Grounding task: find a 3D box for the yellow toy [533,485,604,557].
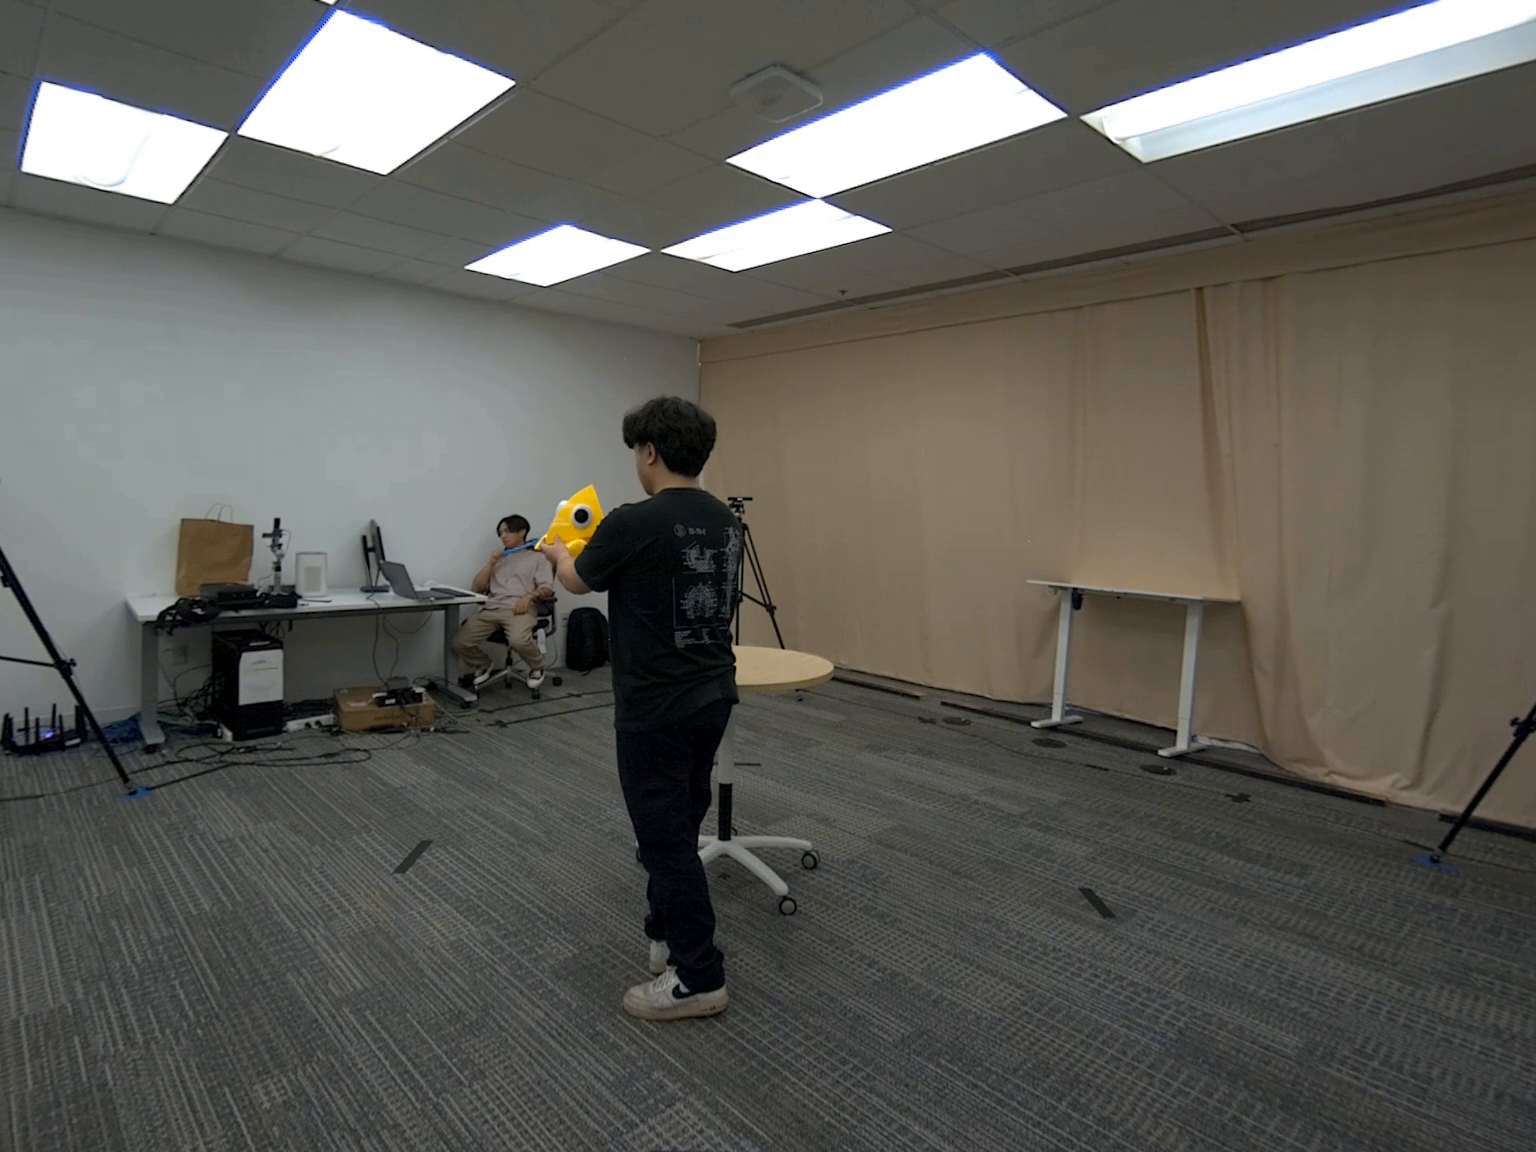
[{"bbox_3d":[-0.648,-0.189,2.762,0.210,0.230,0.188,14,9,43],"label":"yellow toy"}]
